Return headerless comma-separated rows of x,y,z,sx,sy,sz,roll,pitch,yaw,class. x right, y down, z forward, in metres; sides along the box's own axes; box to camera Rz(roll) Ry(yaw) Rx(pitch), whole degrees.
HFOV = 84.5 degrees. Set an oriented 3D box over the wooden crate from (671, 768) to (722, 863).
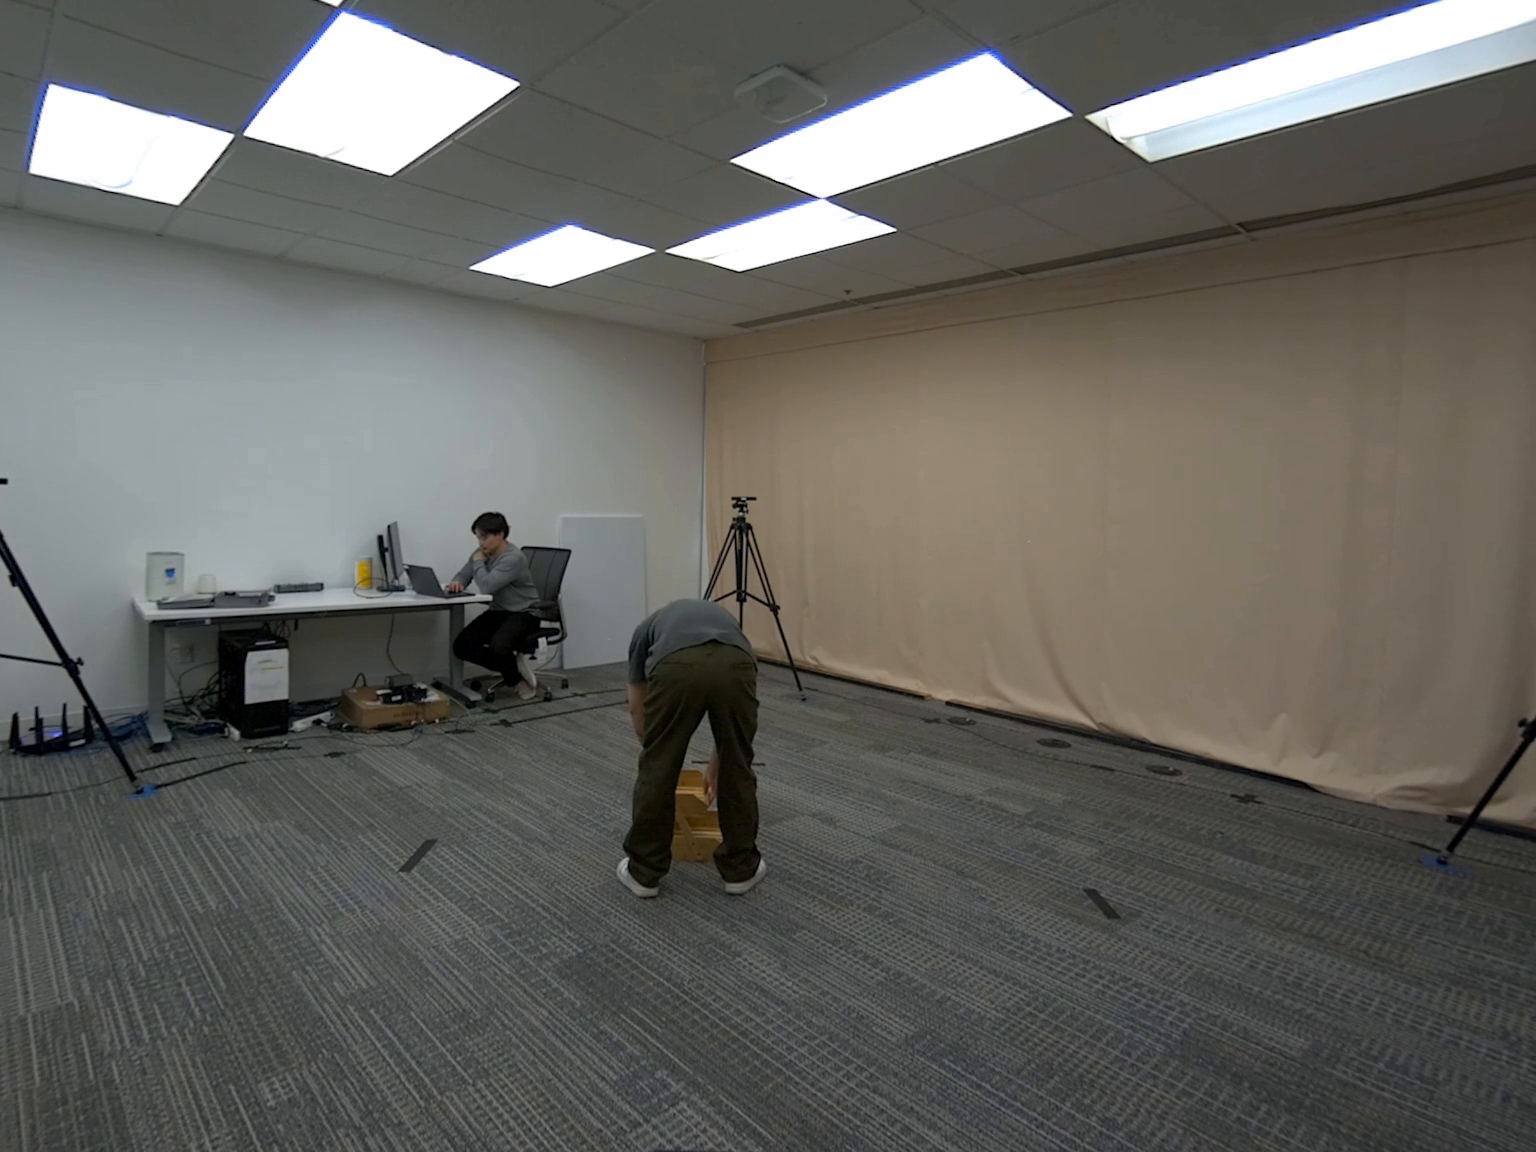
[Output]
-0.291,0.945,3.371,0.302,0.273,0.325,1,4,1,wooden crate
